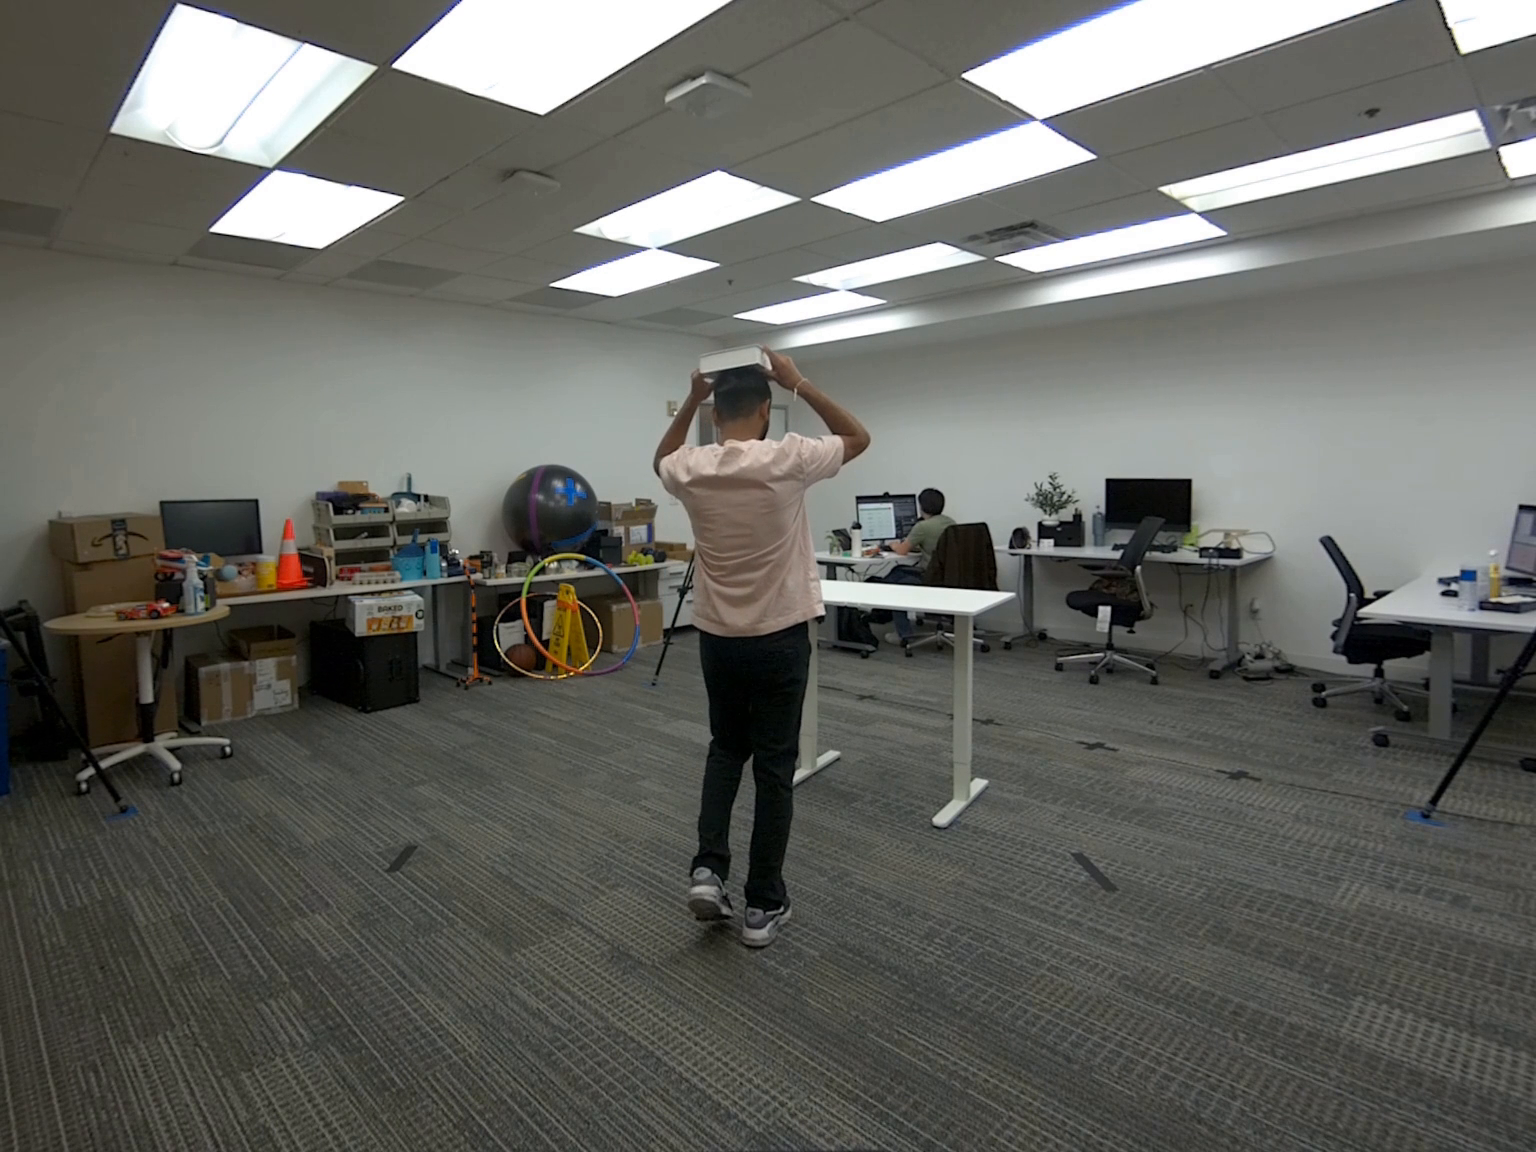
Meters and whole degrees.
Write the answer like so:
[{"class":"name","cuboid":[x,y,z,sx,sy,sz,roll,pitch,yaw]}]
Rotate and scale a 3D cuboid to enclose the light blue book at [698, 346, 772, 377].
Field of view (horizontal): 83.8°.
[{"class":"light blue book","cuboid":[-0.086,-0.642,2.665,0.194,0.059,0.256,-6,-1,19]}]
